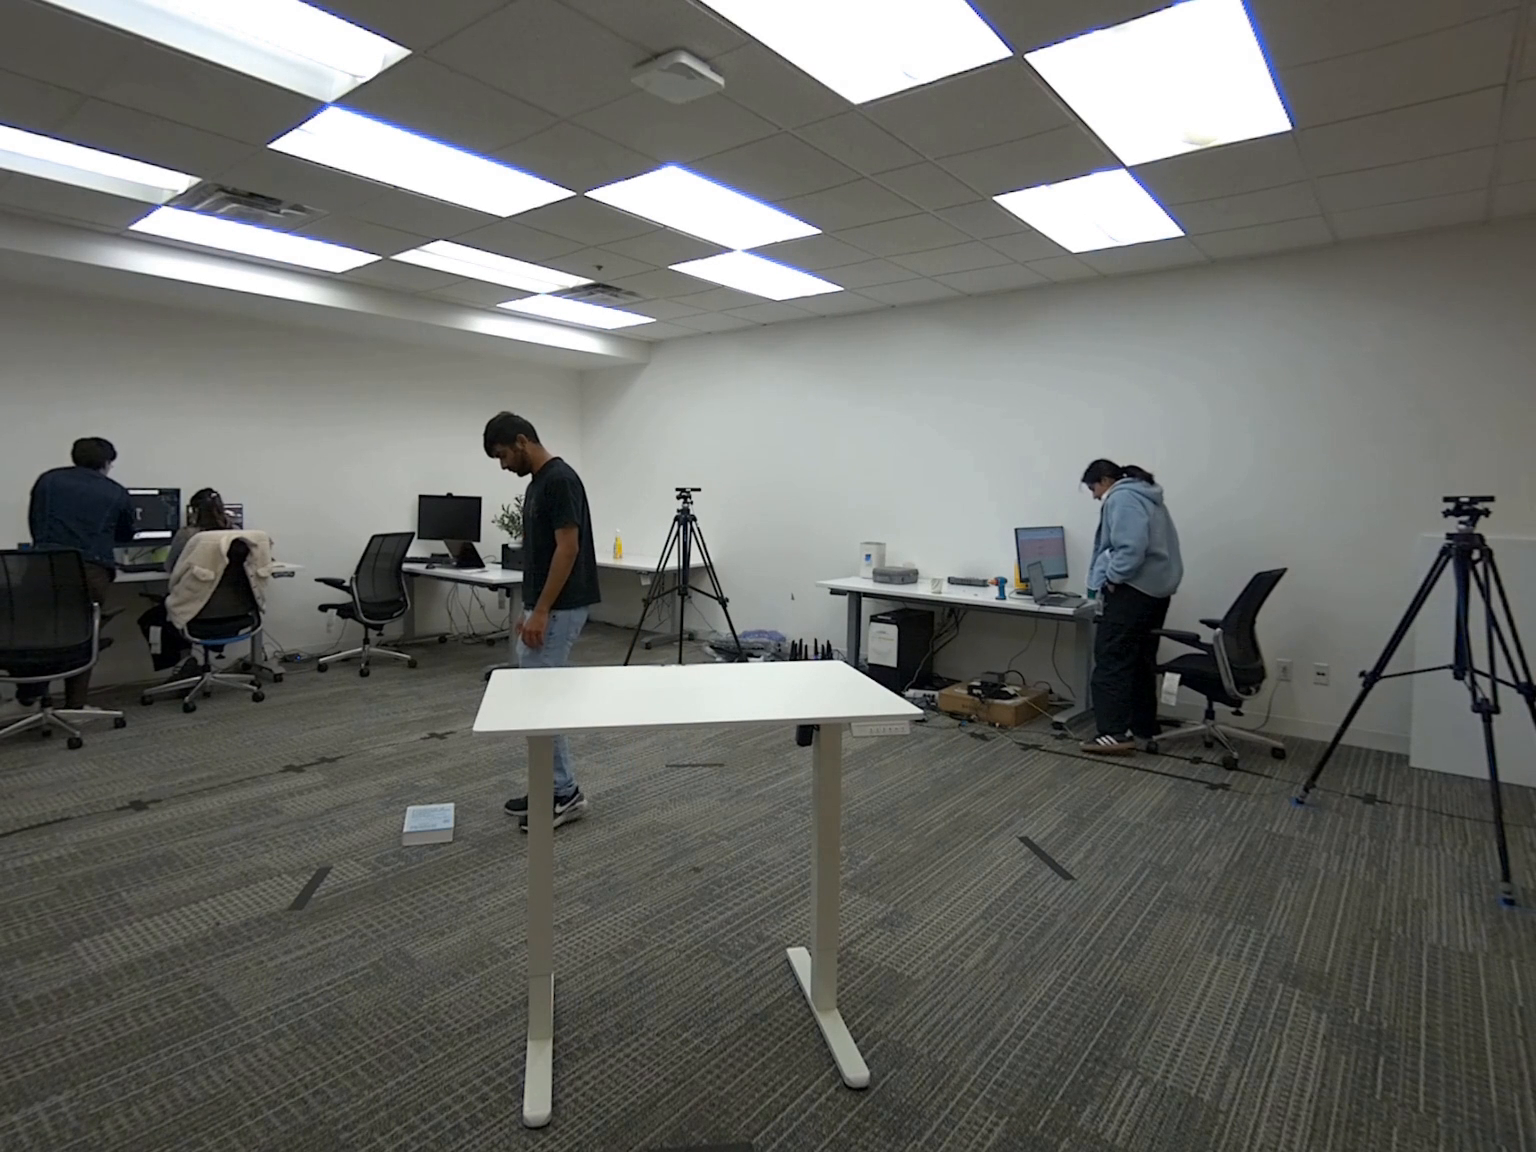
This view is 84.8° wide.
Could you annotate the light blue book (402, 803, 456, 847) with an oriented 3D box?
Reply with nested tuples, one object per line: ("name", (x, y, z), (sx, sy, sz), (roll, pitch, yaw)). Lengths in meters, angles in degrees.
("light blue book", (-1.380, 0.997, 3.423), (0.188, 0.059, 0.267), (-1, 6, -19))
